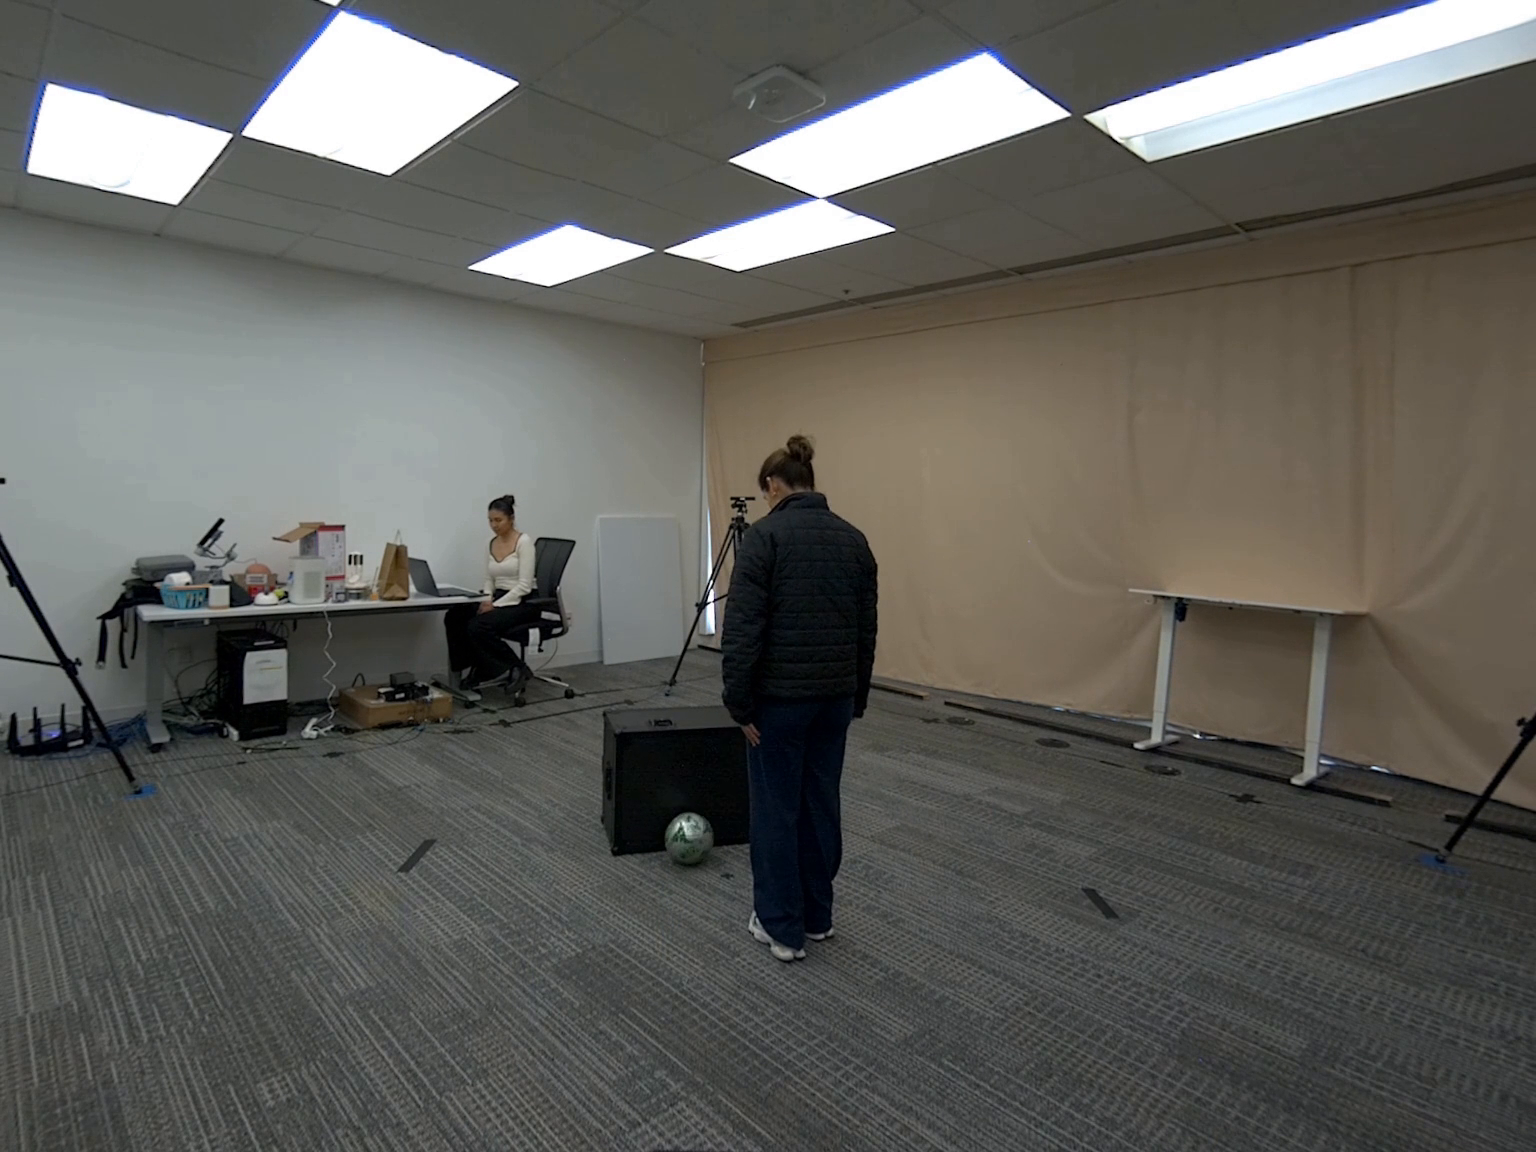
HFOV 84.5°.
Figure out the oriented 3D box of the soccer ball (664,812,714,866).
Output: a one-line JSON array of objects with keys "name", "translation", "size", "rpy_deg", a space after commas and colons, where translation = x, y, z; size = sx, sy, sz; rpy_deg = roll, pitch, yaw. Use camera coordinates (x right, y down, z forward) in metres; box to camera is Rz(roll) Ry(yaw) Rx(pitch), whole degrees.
[{"name": "soccer ball", "translation": [-0.313, 0.999, 3.202], "size": [0.187, 0.187, 0.188], "rpy_deg": [1, 4, -1]}]
